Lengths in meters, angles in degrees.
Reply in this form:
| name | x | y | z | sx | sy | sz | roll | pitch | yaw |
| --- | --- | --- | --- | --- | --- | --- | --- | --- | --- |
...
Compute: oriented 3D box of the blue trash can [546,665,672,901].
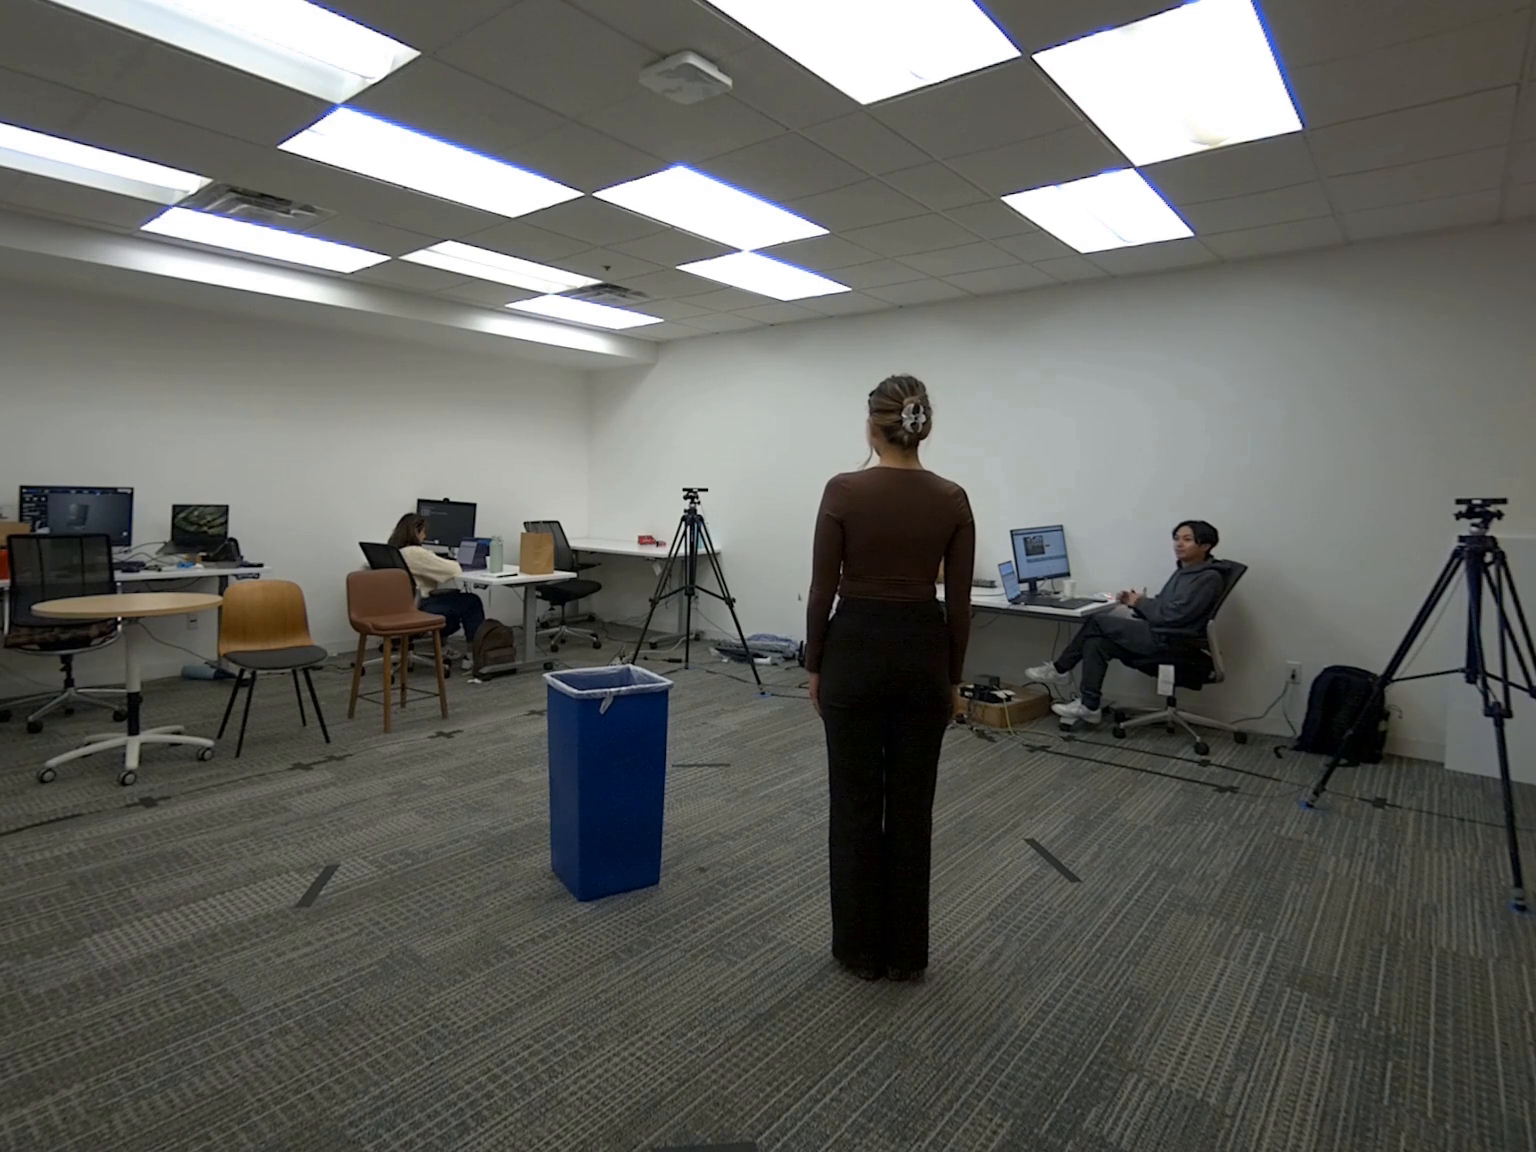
| name | x | y | z | sx | sy | sz | roll | pitch | yaw |
| --- | --- | --- | --- | --- | --- | --- | --- | --- | --- |
| blue trash can | -0.594 | 0.712 | 3.029 | 0.367 | 0.712 | 0.386 | 0 | 3 | -33 |
